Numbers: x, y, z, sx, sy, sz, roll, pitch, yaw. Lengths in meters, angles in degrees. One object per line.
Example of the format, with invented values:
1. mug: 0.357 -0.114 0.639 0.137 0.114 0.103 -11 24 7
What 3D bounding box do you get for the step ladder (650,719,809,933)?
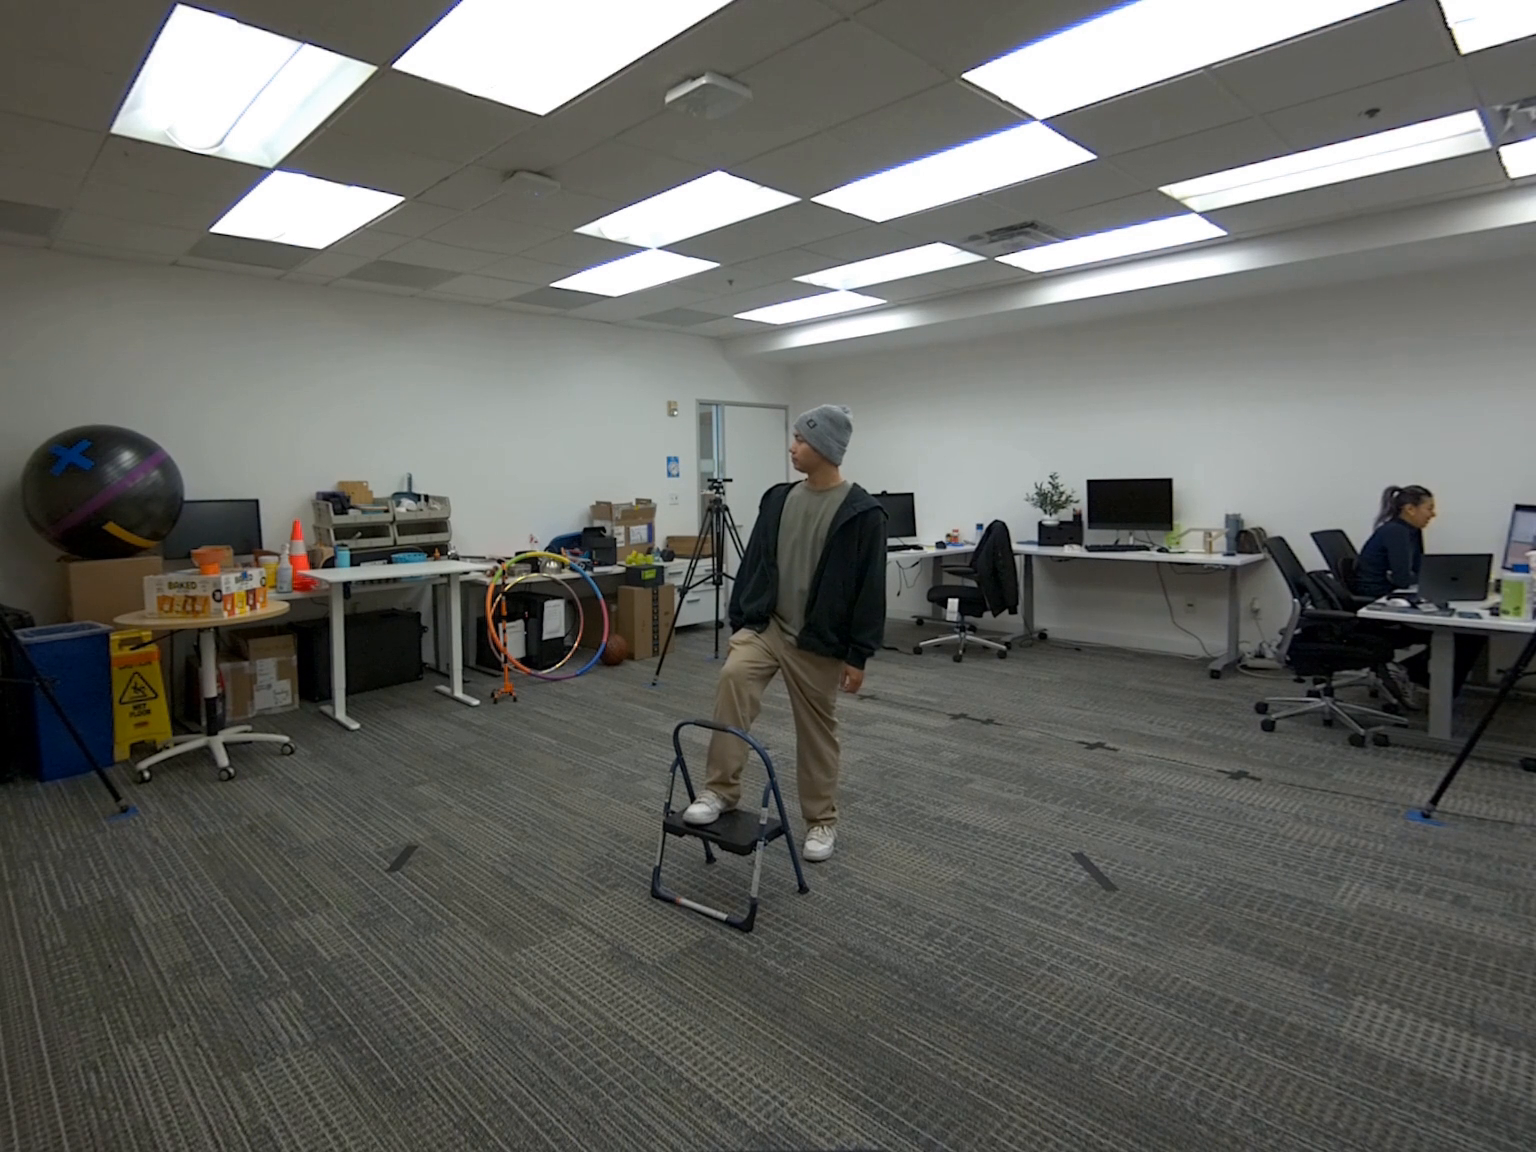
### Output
1. step ladder: -0.136 0.772 2.864 0.443 0.604 0.341 2 5 35
